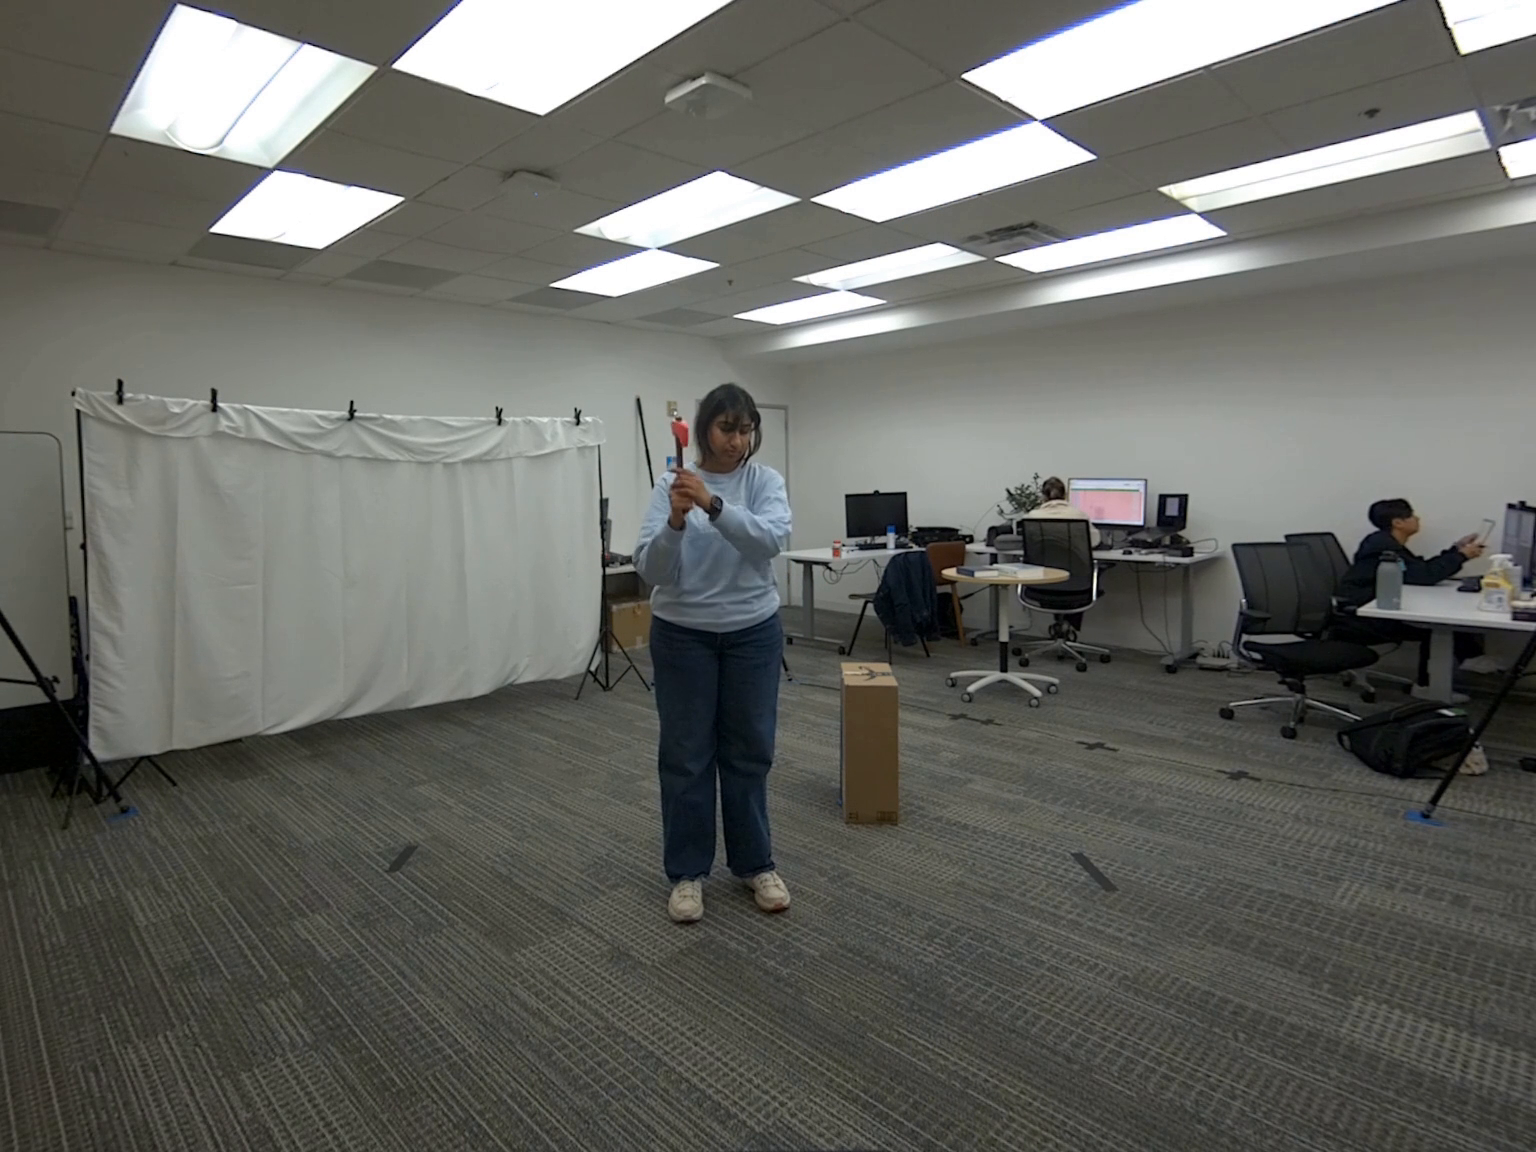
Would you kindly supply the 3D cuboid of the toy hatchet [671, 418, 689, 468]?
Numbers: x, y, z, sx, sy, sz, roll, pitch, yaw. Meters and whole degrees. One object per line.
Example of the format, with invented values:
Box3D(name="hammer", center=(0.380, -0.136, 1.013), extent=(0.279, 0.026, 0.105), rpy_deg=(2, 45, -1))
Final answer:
Box3D(name="toy hatchet", center=(-0.230, -0.309, 2.410), extent=(0.029, 0.271, 0.133), rpy_deg=(-5, -4, -25))
